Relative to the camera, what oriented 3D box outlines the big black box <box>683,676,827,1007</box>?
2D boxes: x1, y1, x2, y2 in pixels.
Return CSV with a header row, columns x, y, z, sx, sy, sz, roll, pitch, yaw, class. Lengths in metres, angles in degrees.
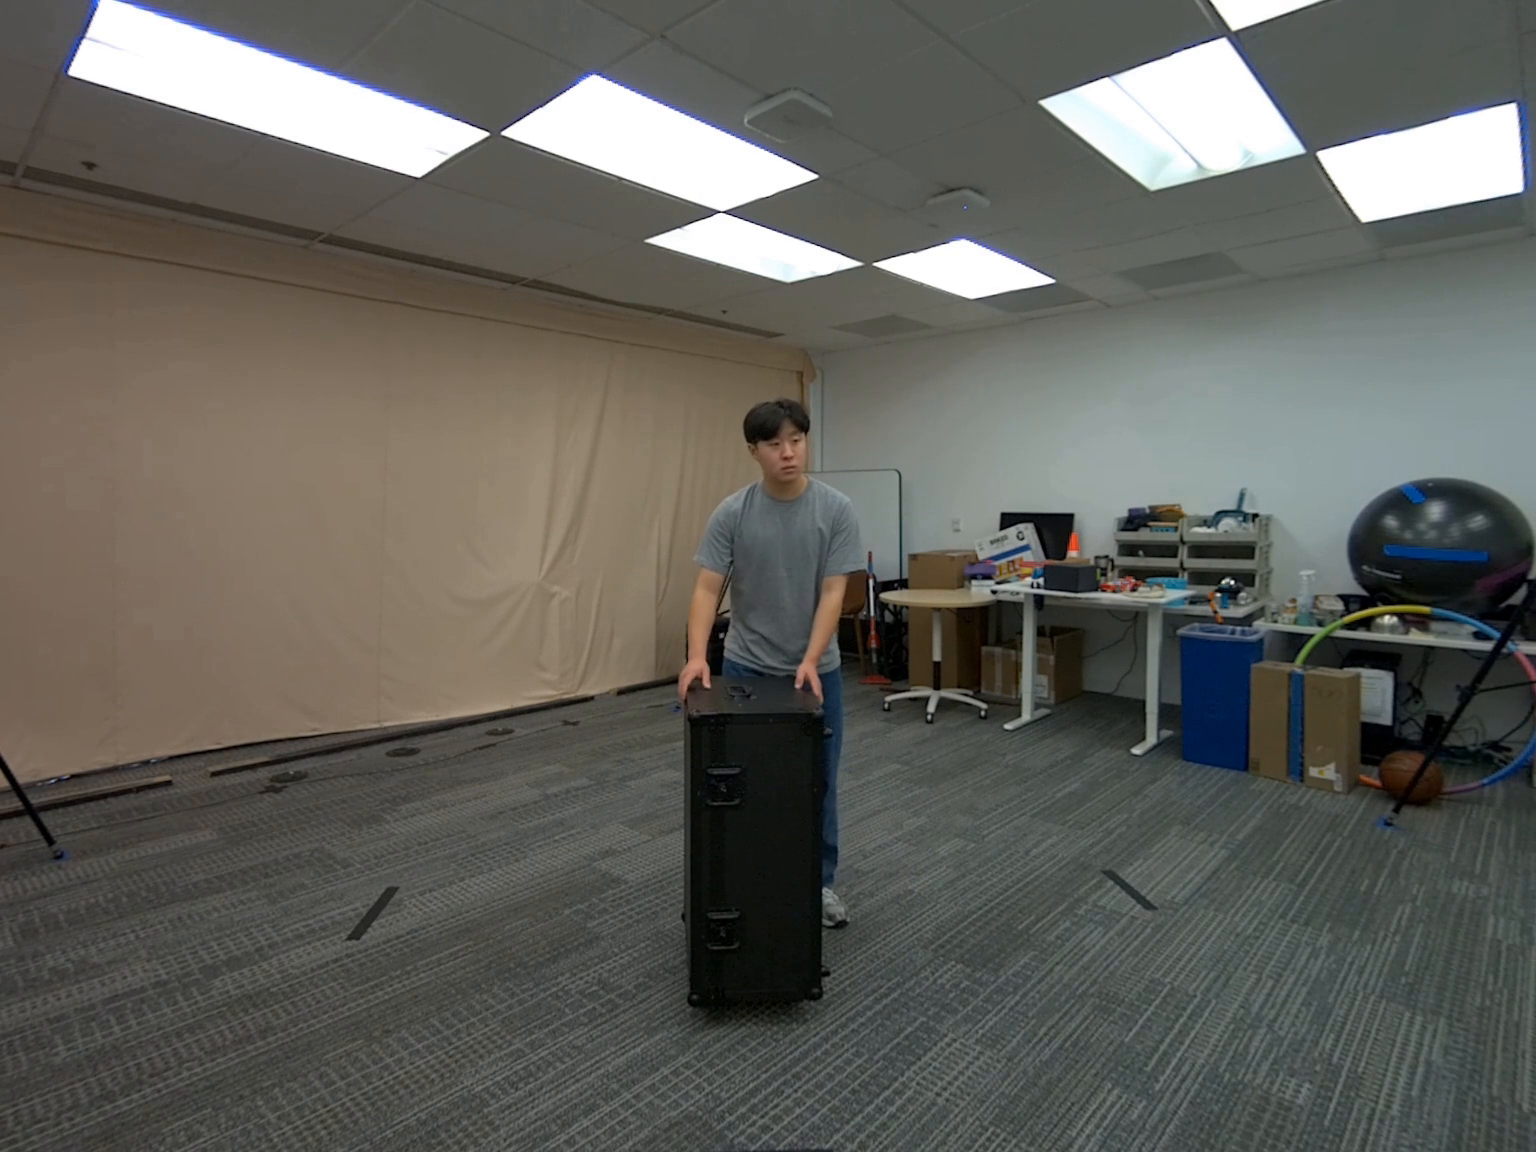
x,y,z,sx,sy,sz,roll,pitch,yaw,class
-0.053,0.768,2.460,0.394,0.860,0.525,0,3,-5,big black box
